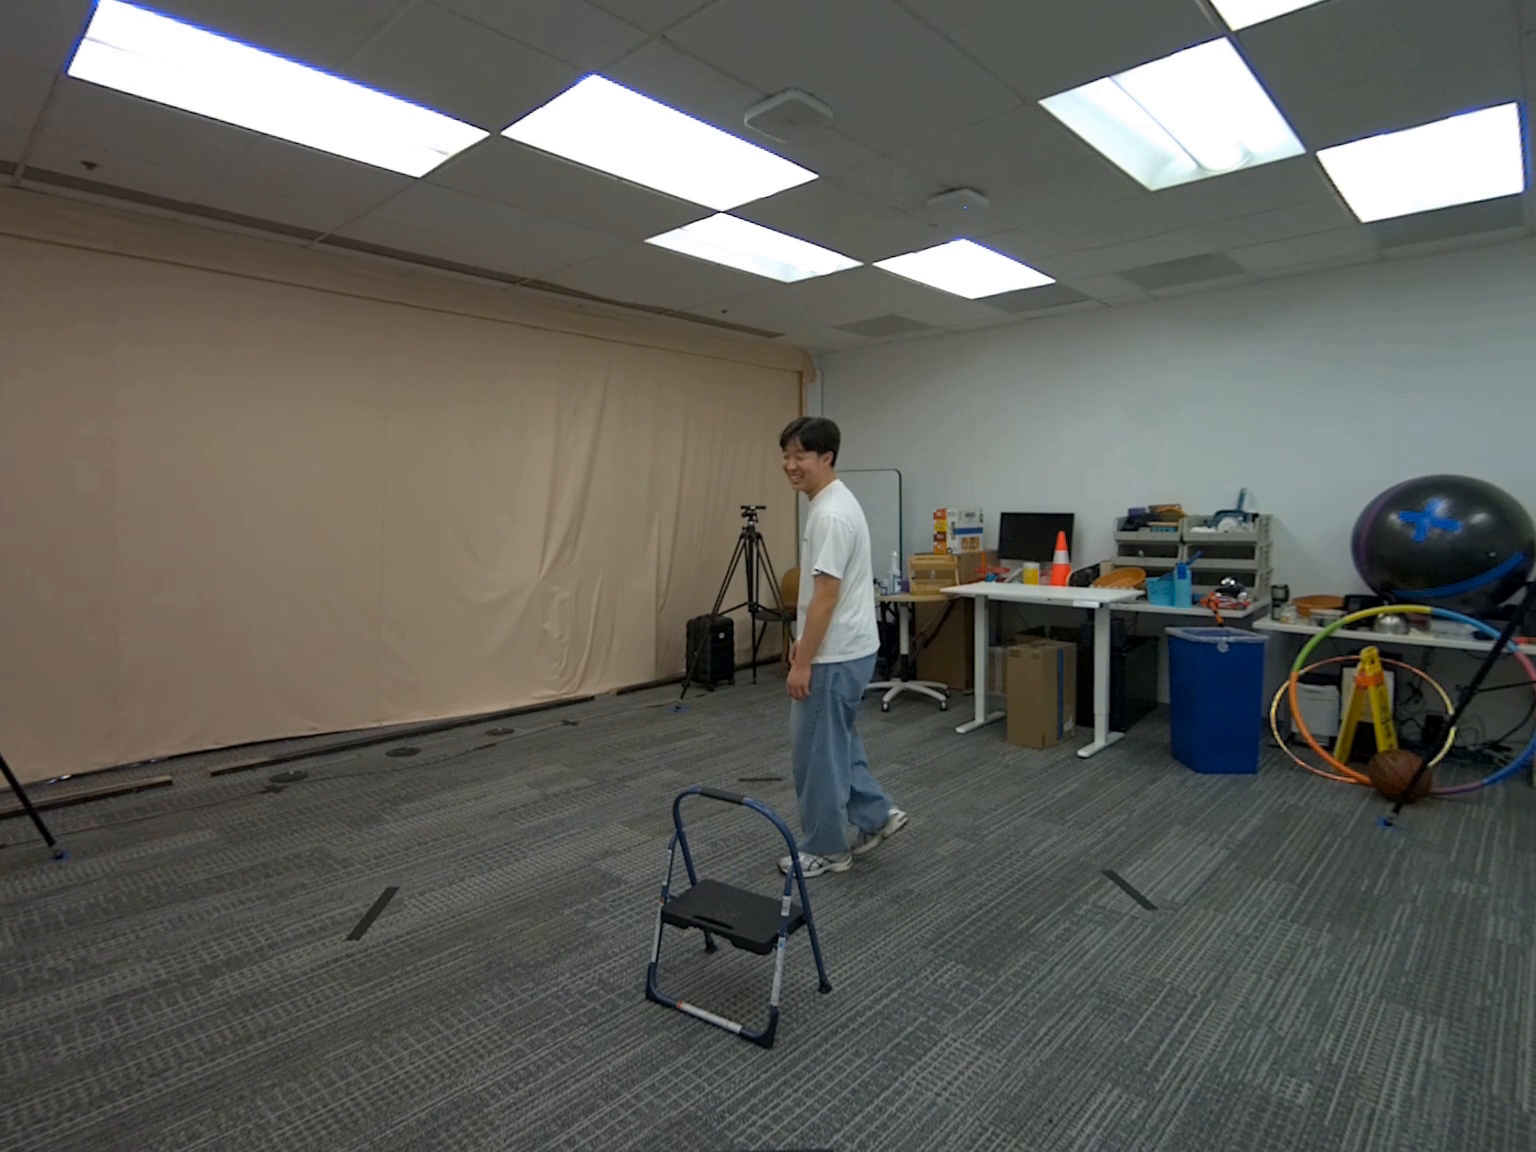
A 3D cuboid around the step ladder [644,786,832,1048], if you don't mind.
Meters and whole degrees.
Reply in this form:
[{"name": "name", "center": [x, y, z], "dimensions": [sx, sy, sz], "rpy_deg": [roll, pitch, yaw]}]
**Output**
[{"name": "step ladder", "center": [-0.086, 0.891, 2.387], "dimensions": [0.443, 0.605, 0.340], "rpy_deg": [2, 4, 31]}]
